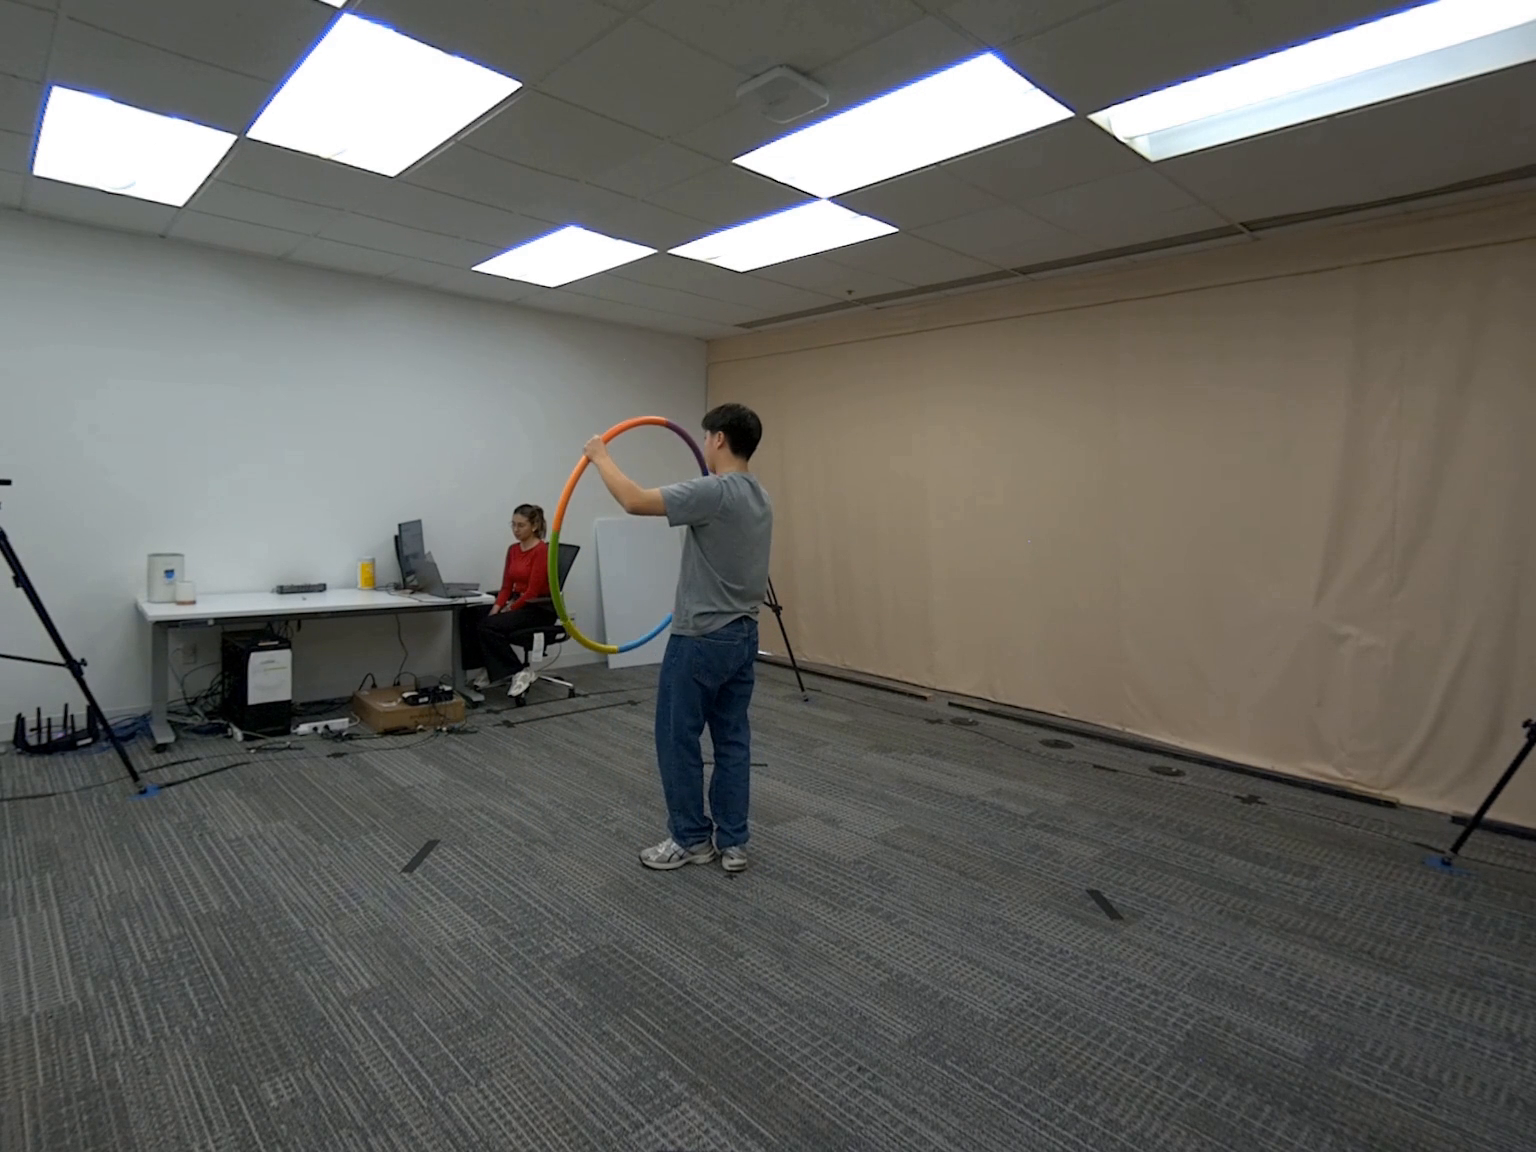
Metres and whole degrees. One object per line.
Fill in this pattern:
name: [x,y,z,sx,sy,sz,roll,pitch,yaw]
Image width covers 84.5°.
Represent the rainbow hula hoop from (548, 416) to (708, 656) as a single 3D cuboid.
rainbow hula hoop: [-0.537,-0.164,3.450,0.036,0.973,0.959,16,11,31]
